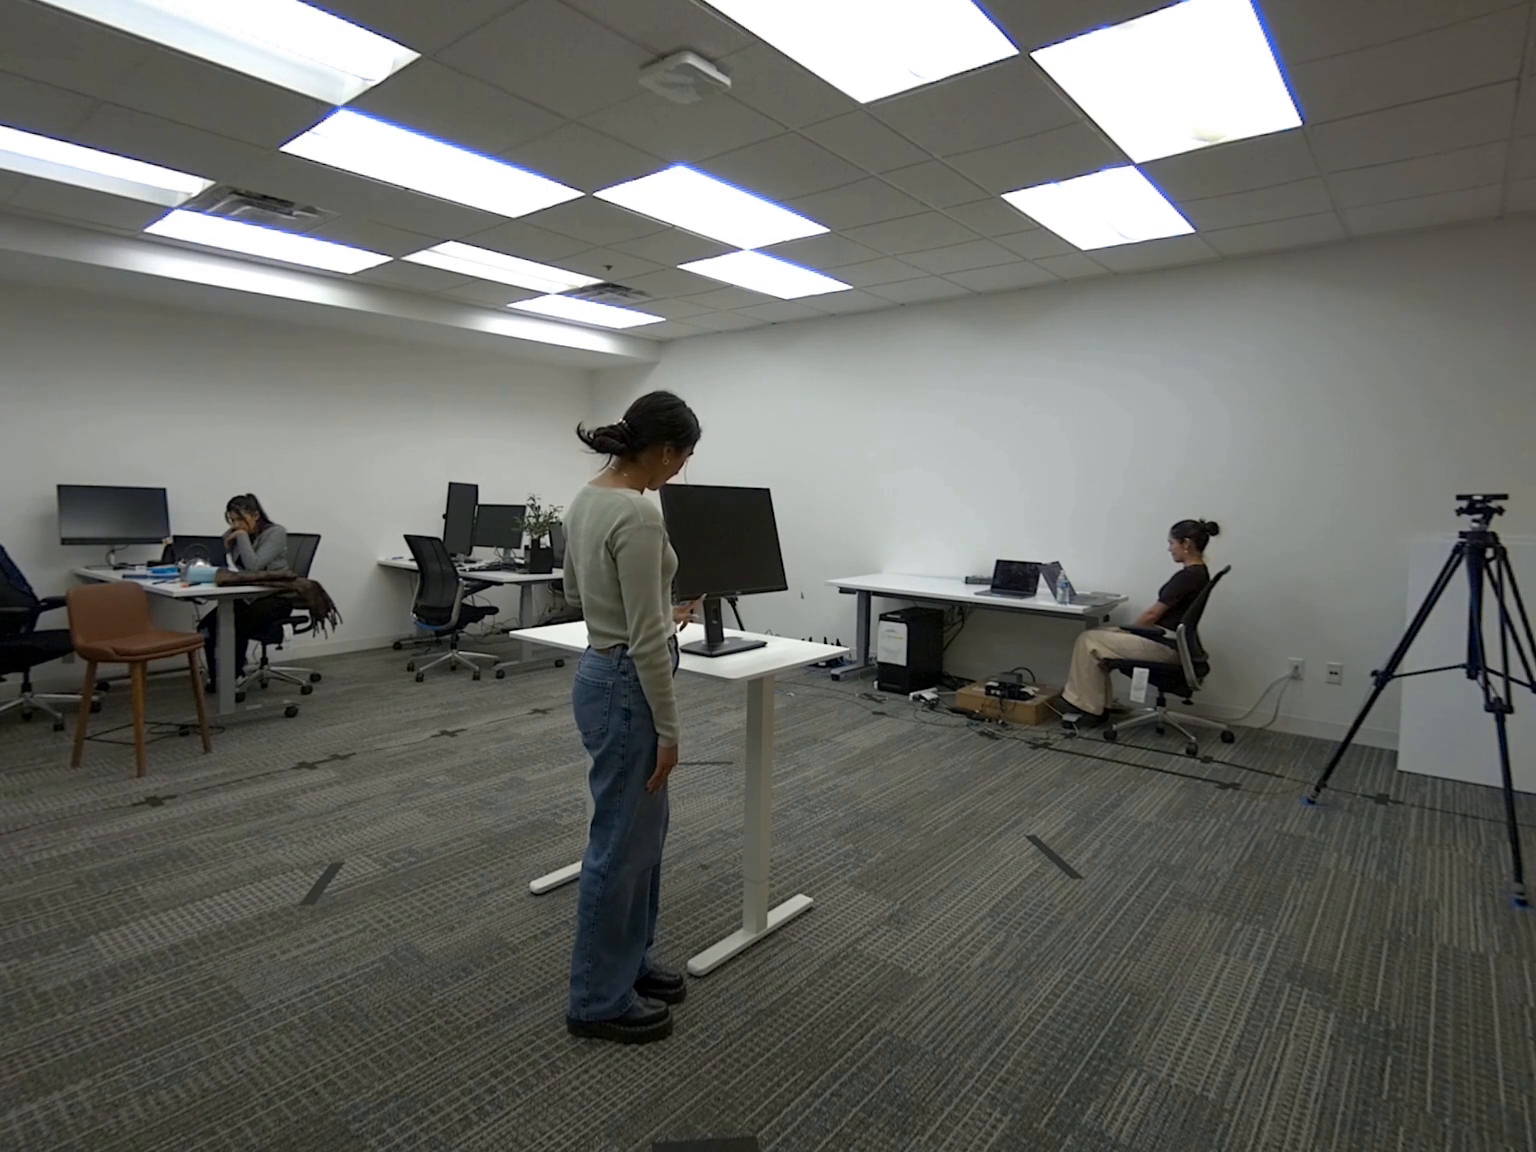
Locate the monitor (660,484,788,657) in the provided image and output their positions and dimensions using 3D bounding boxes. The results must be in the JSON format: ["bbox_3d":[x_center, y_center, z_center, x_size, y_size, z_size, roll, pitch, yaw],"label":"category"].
[{"bbox_3d":[-0.159,-0.023,2.685,0.193,0.522,0.523,0,2,36],"label":"monitor"}]
